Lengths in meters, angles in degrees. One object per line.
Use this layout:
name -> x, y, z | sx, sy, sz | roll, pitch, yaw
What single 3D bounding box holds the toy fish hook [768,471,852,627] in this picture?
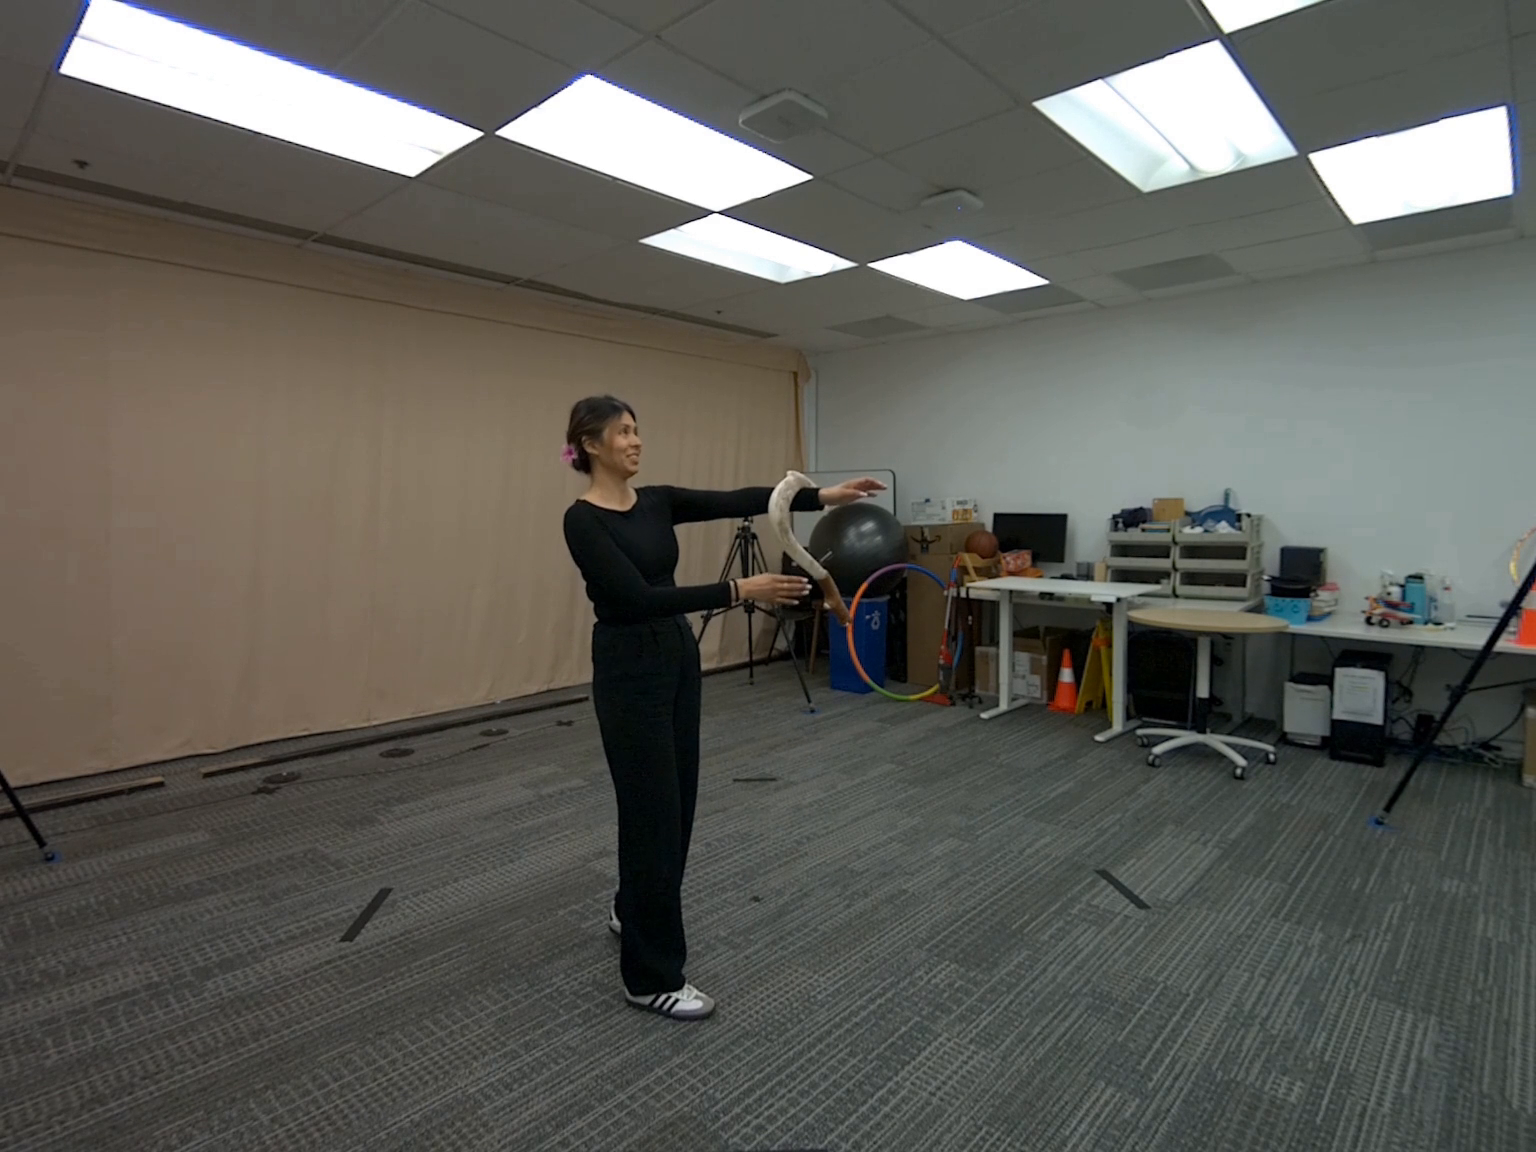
toy fish hook -> 0.154, -0.069, 2.352 | 0.050, 0.492, 0.223 | 9, 49, 48
